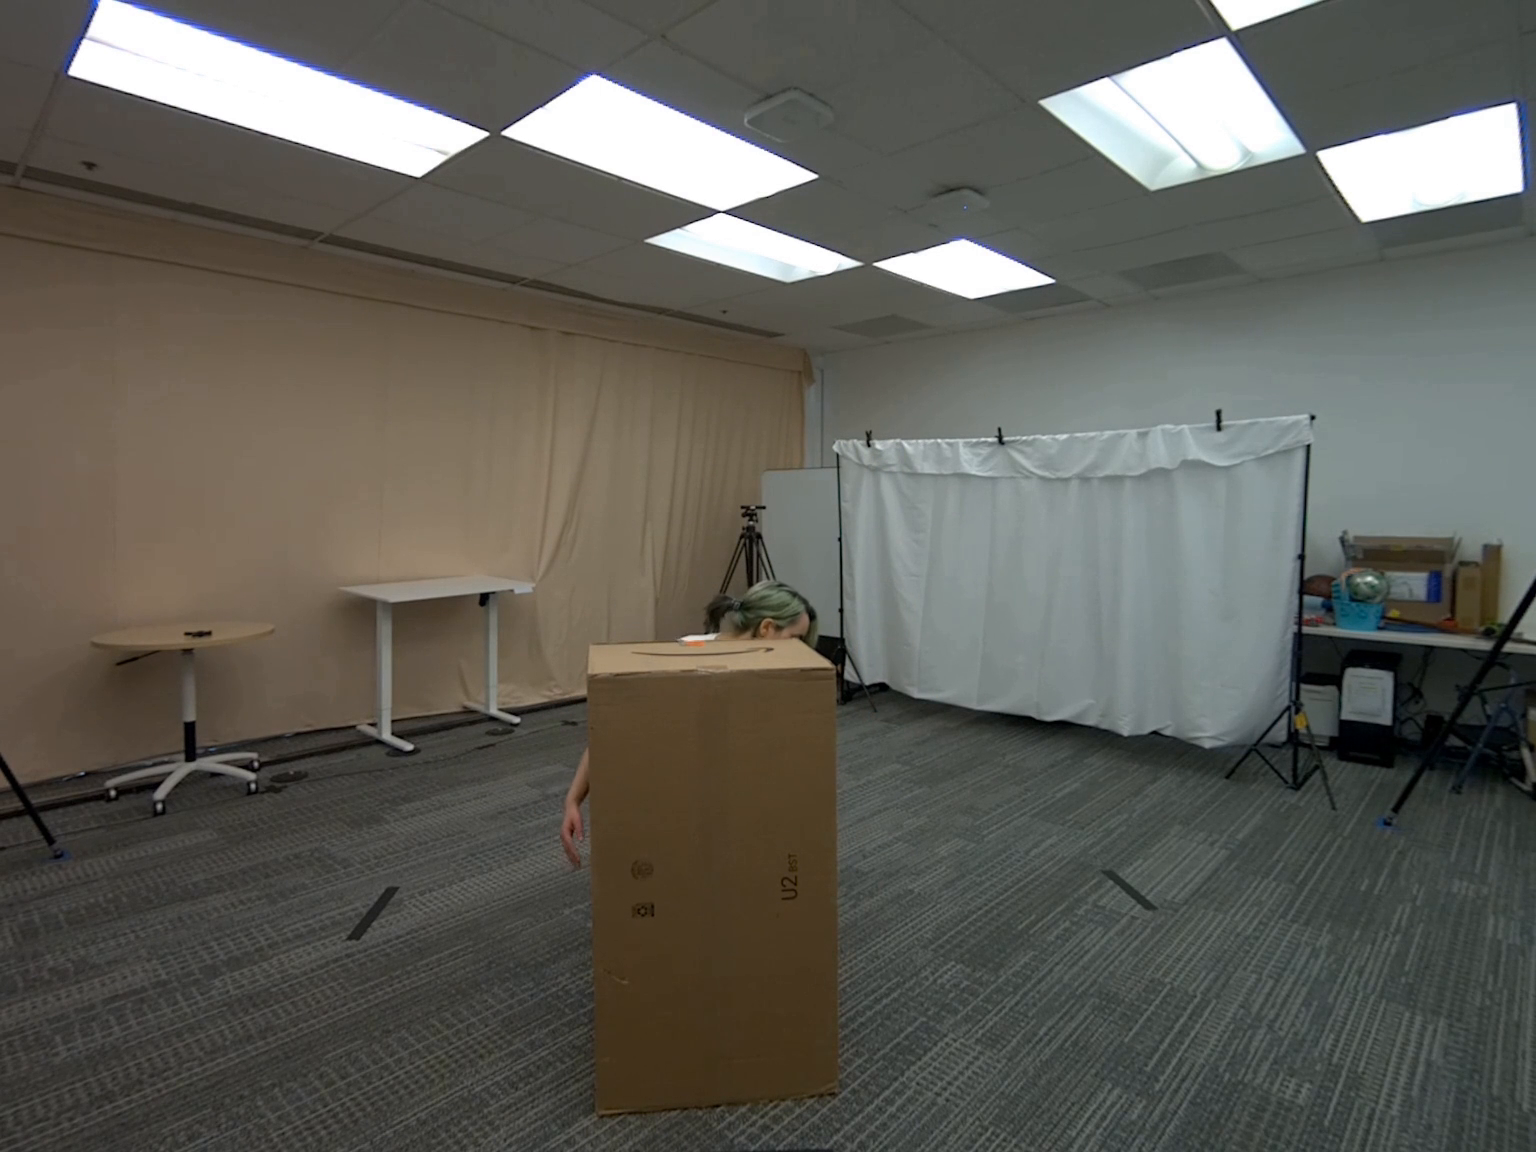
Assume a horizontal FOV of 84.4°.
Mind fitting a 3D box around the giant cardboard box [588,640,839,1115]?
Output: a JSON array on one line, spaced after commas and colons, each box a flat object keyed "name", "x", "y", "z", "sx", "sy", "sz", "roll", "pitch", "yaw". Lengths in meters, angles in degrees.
[{"name": "giant cardboard box", "x": -0.156, "y": 0.708, "z": 2.135, "sx": 0.578, "sy": 1.024, "sz": 0.452, "roll": -1, "pitch": 4, "yaw": -9}]
